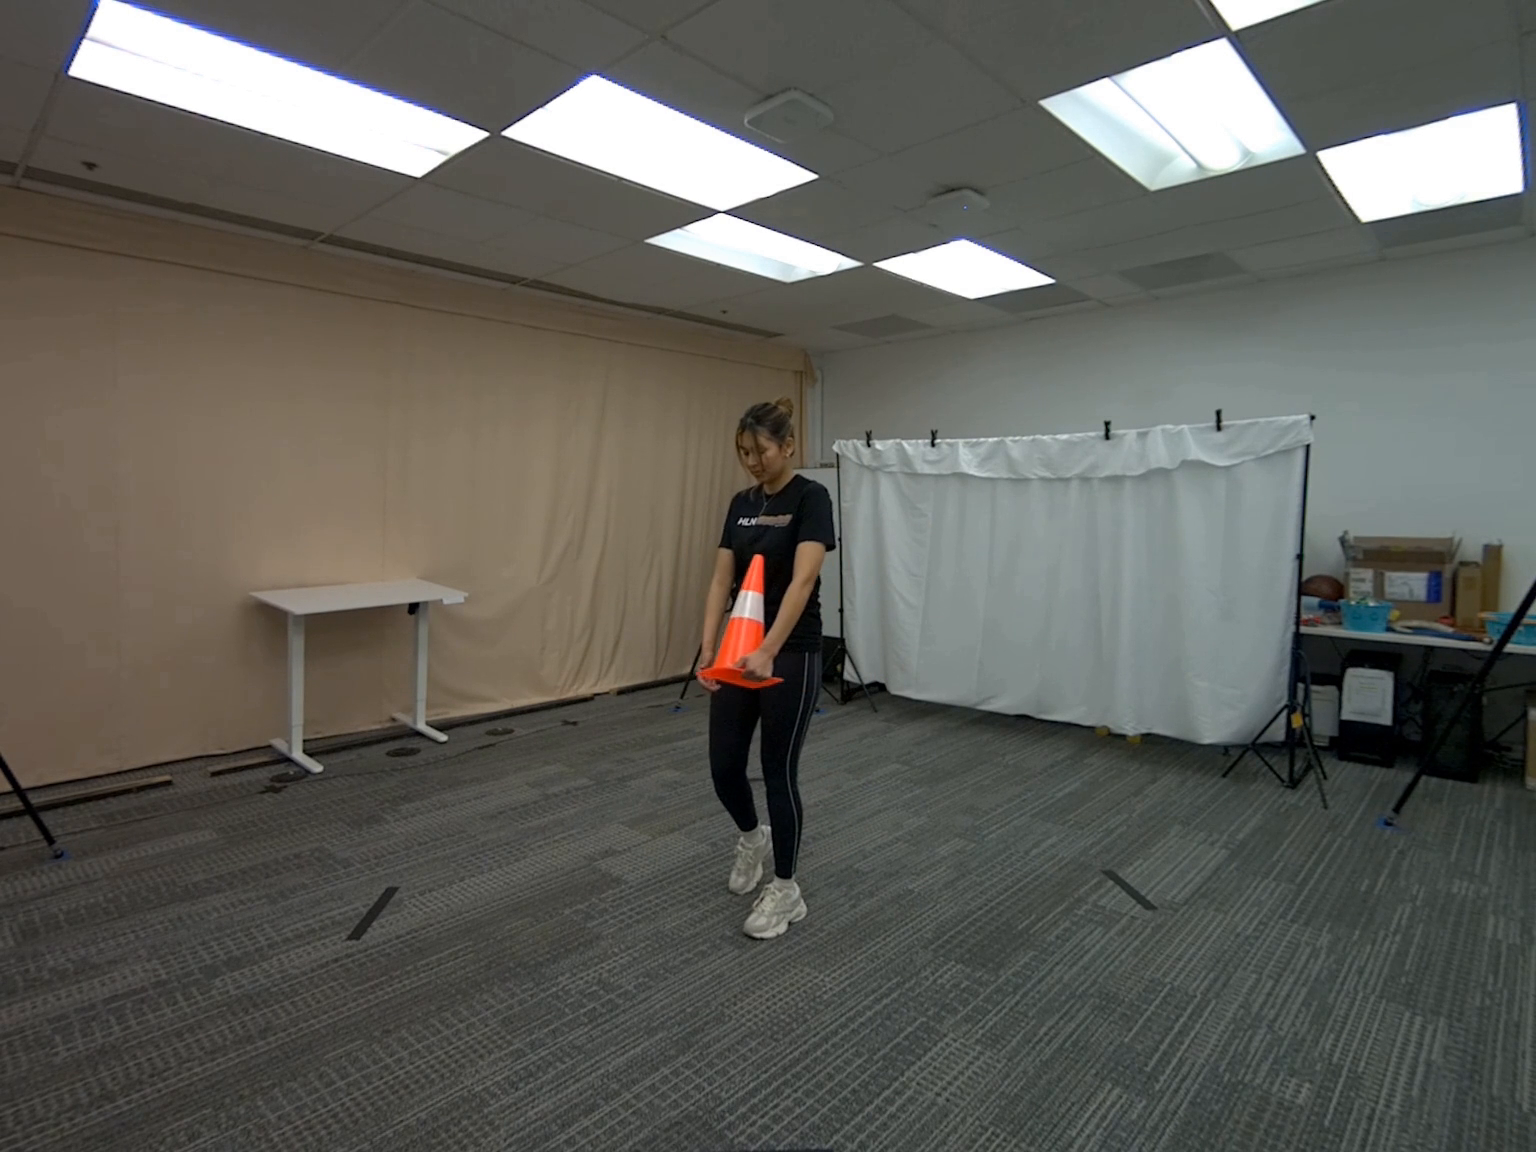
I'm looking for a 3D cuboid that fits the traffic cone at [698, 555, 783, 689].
[{"bbox_3d":[-0.055,0.119,2.515,0.199,0.387,0.207,14,-19,-17],"label":"traffic cone"}]
